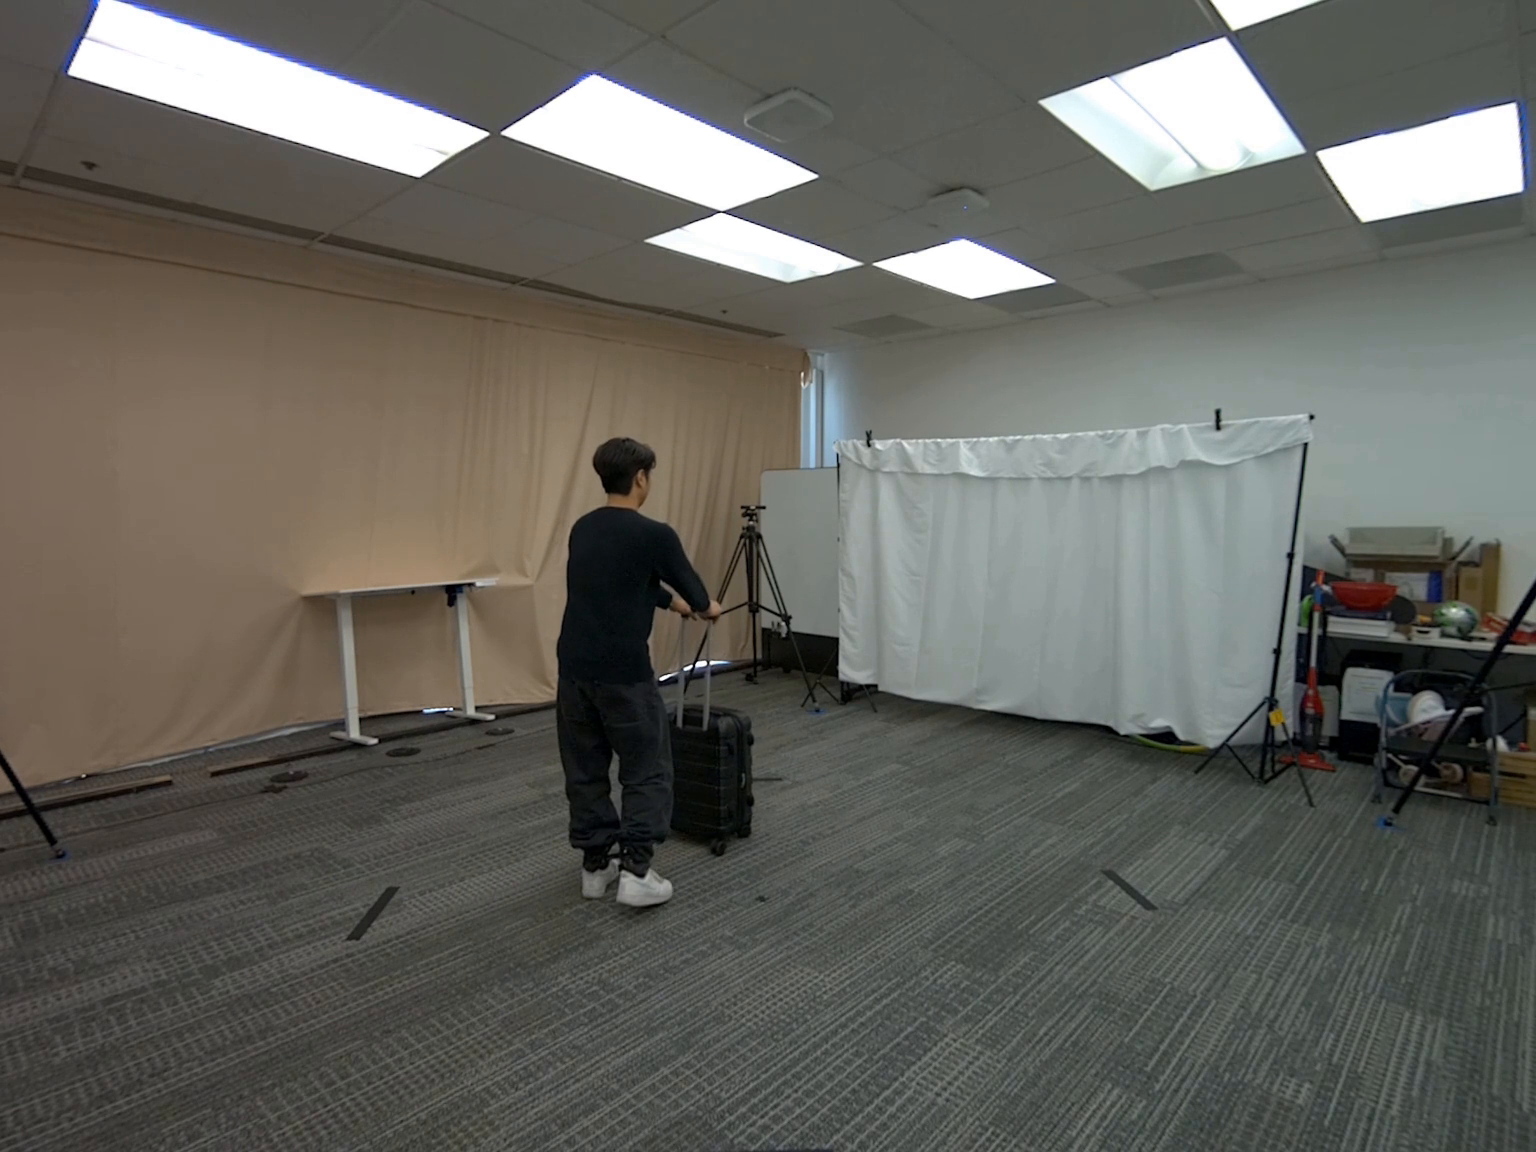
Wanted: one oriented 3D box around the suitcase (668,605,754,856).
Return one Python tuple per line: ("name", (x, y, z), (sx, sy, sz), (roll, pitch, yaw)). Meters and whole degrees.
("suitcase", (-0.255, 0.623, 3.543), (0.395, 0.978, 0.249), (1, 1, 32))
